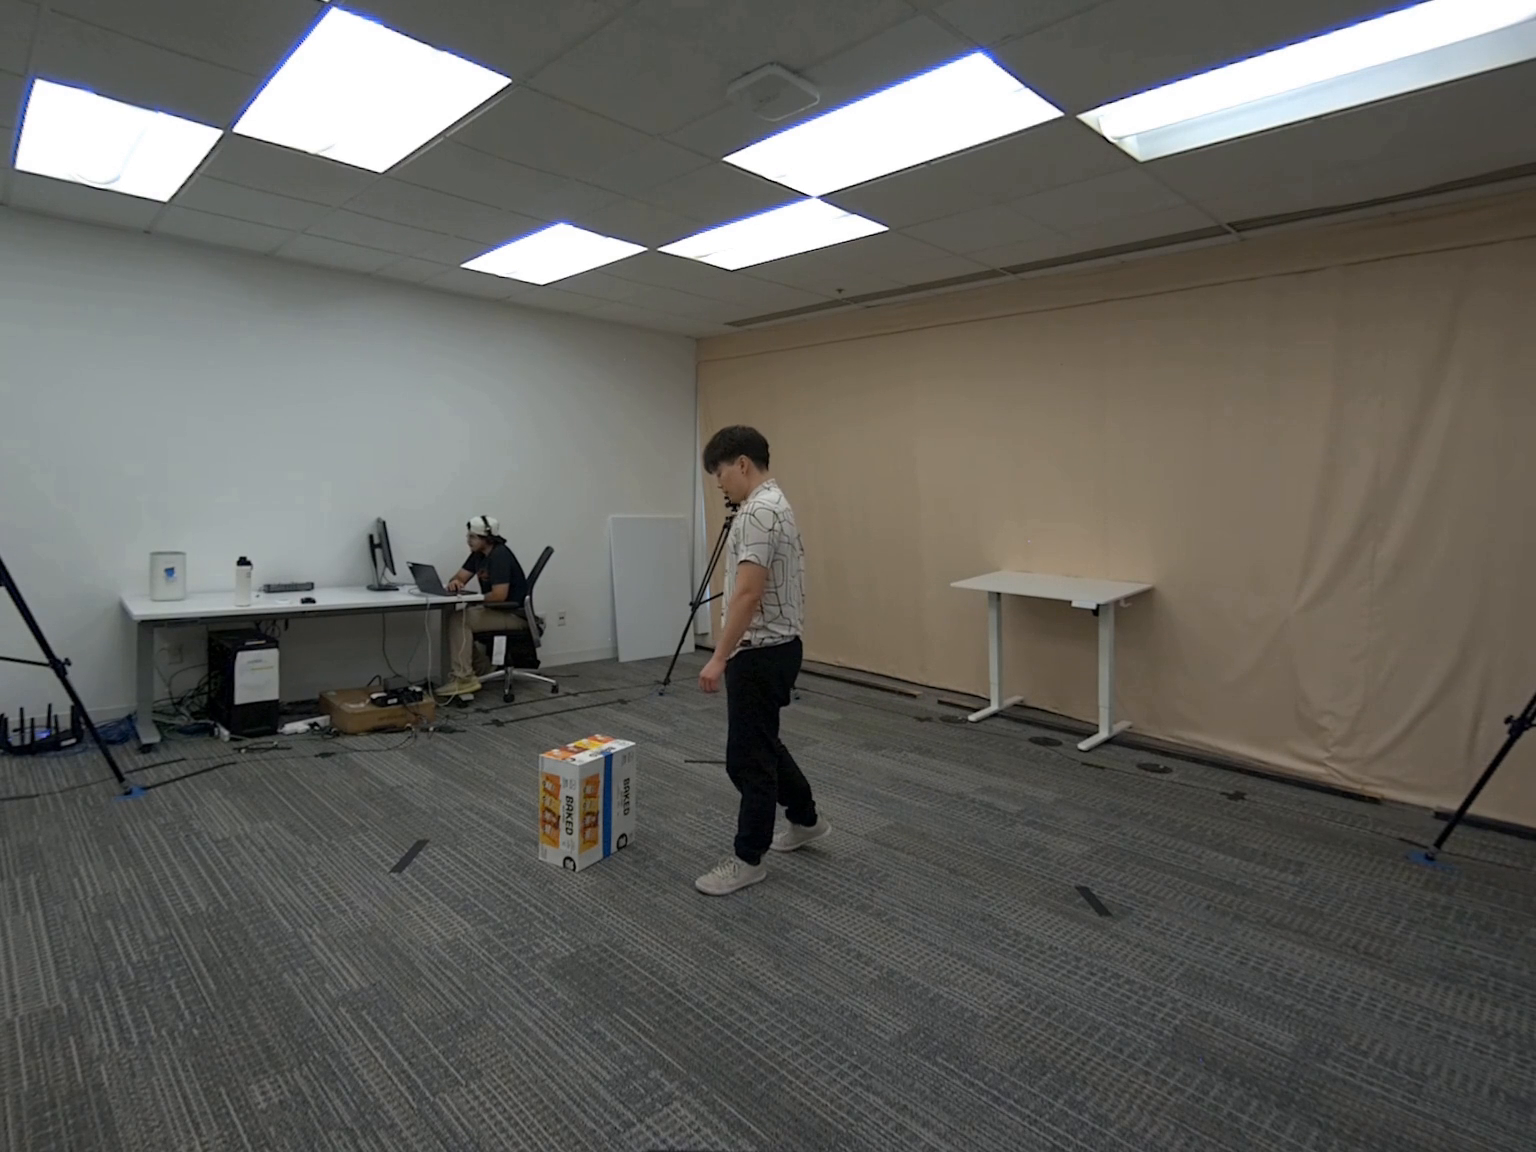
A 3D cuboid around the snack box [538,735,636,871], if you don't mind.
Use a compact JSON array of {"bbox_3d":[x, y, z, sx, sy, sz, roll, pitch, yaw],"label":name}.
[{"bbox_3d":[-0.702,0.867,3.278,0.210,0.404,0.334,3,5,30],"label":"snack box"}]
